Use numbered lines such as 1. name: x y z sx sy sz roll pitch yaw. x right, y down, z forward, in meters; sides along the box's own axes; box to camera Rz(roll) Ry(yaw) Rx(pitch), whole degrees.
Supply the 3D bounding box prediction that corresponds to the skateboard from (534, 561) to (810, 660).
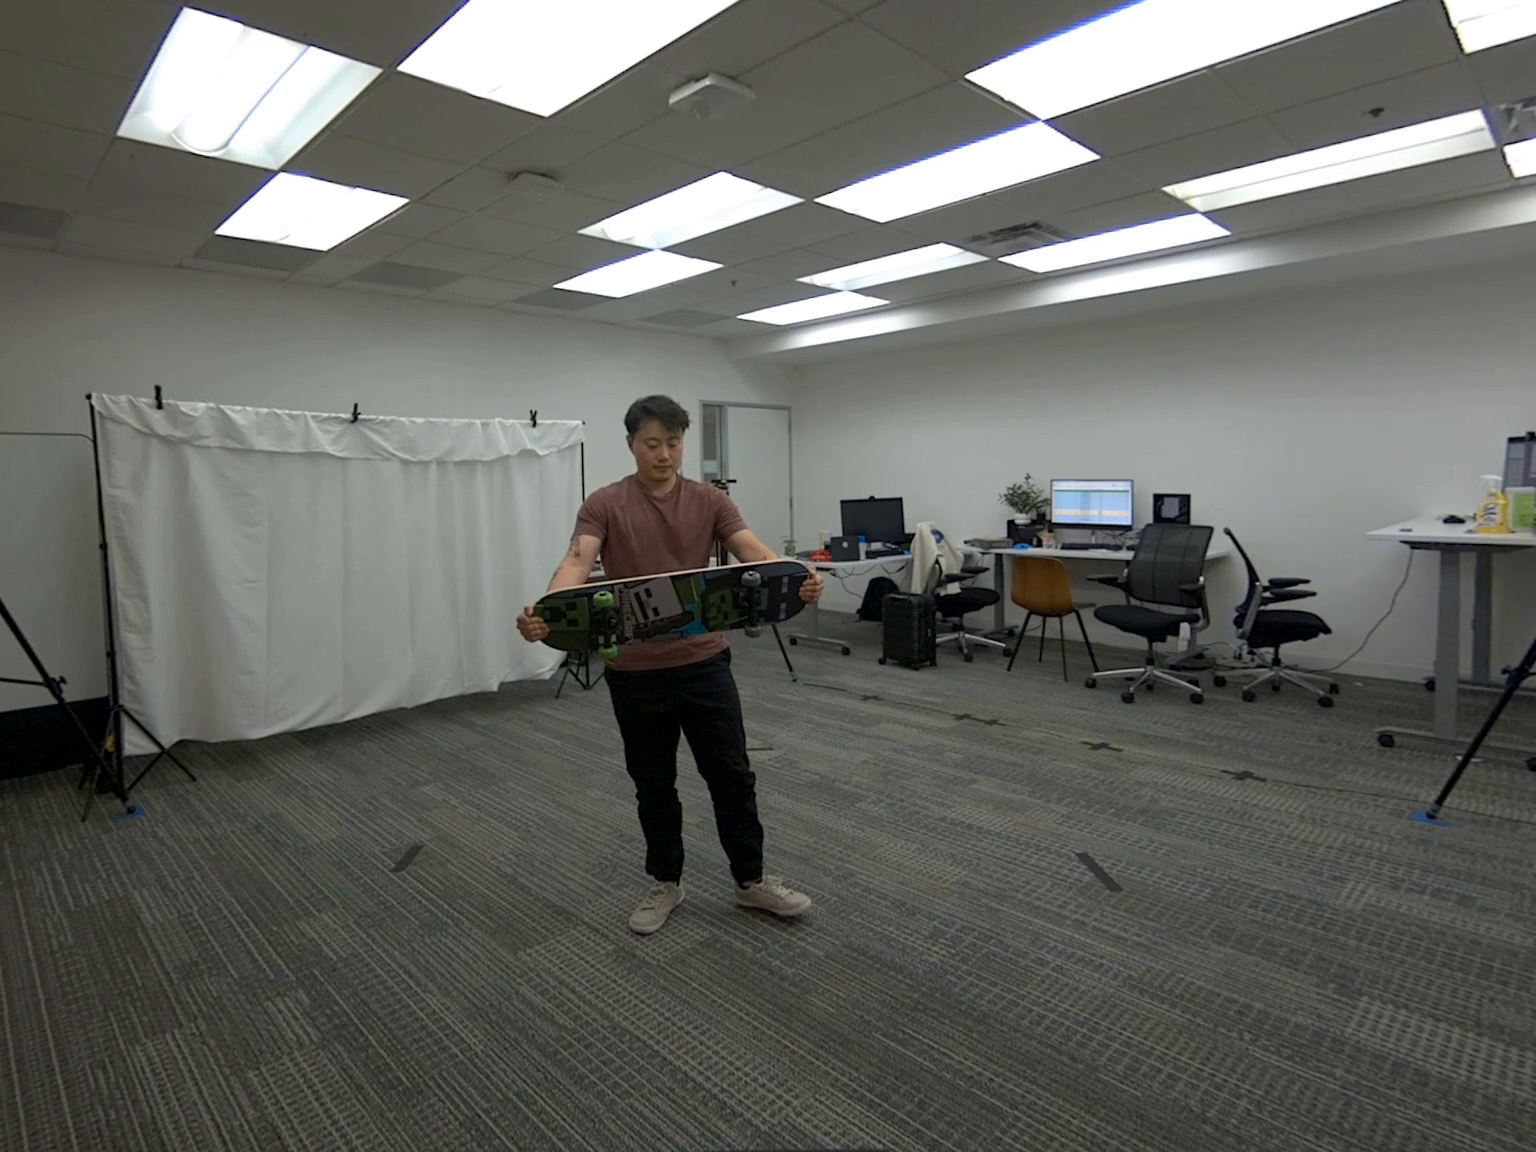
1. skateboard: -0.236 0.094 2.307 0.778 0.190 0.113 -6 21 -11
